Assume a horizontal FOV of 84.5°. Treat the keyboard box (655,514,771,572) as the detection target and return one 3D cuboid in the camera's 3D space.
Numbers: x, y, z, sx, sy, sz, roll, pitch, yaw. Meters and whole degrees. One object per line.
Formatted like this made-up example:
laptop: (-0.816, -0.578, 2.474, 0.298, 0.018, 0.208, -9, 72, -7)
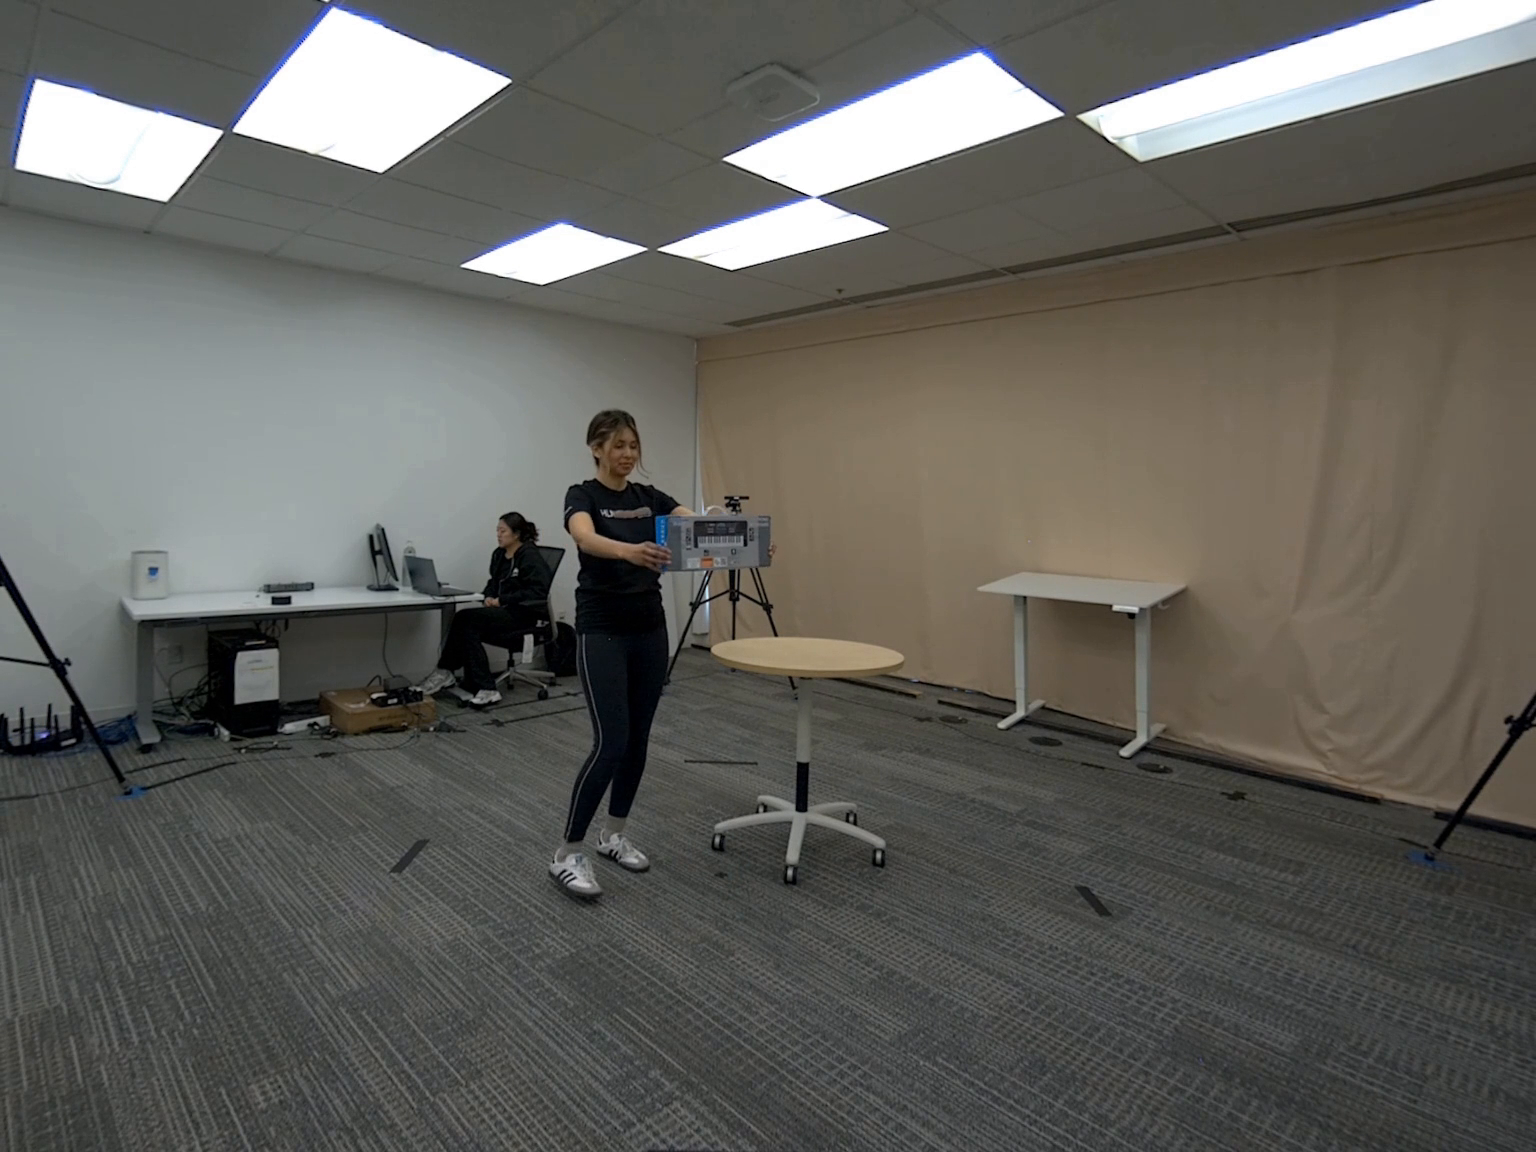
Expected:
keyboard box: (-0.178, -0.107, 2.722, 0.427, 0.176, 0.060, -3, 2, -42)
